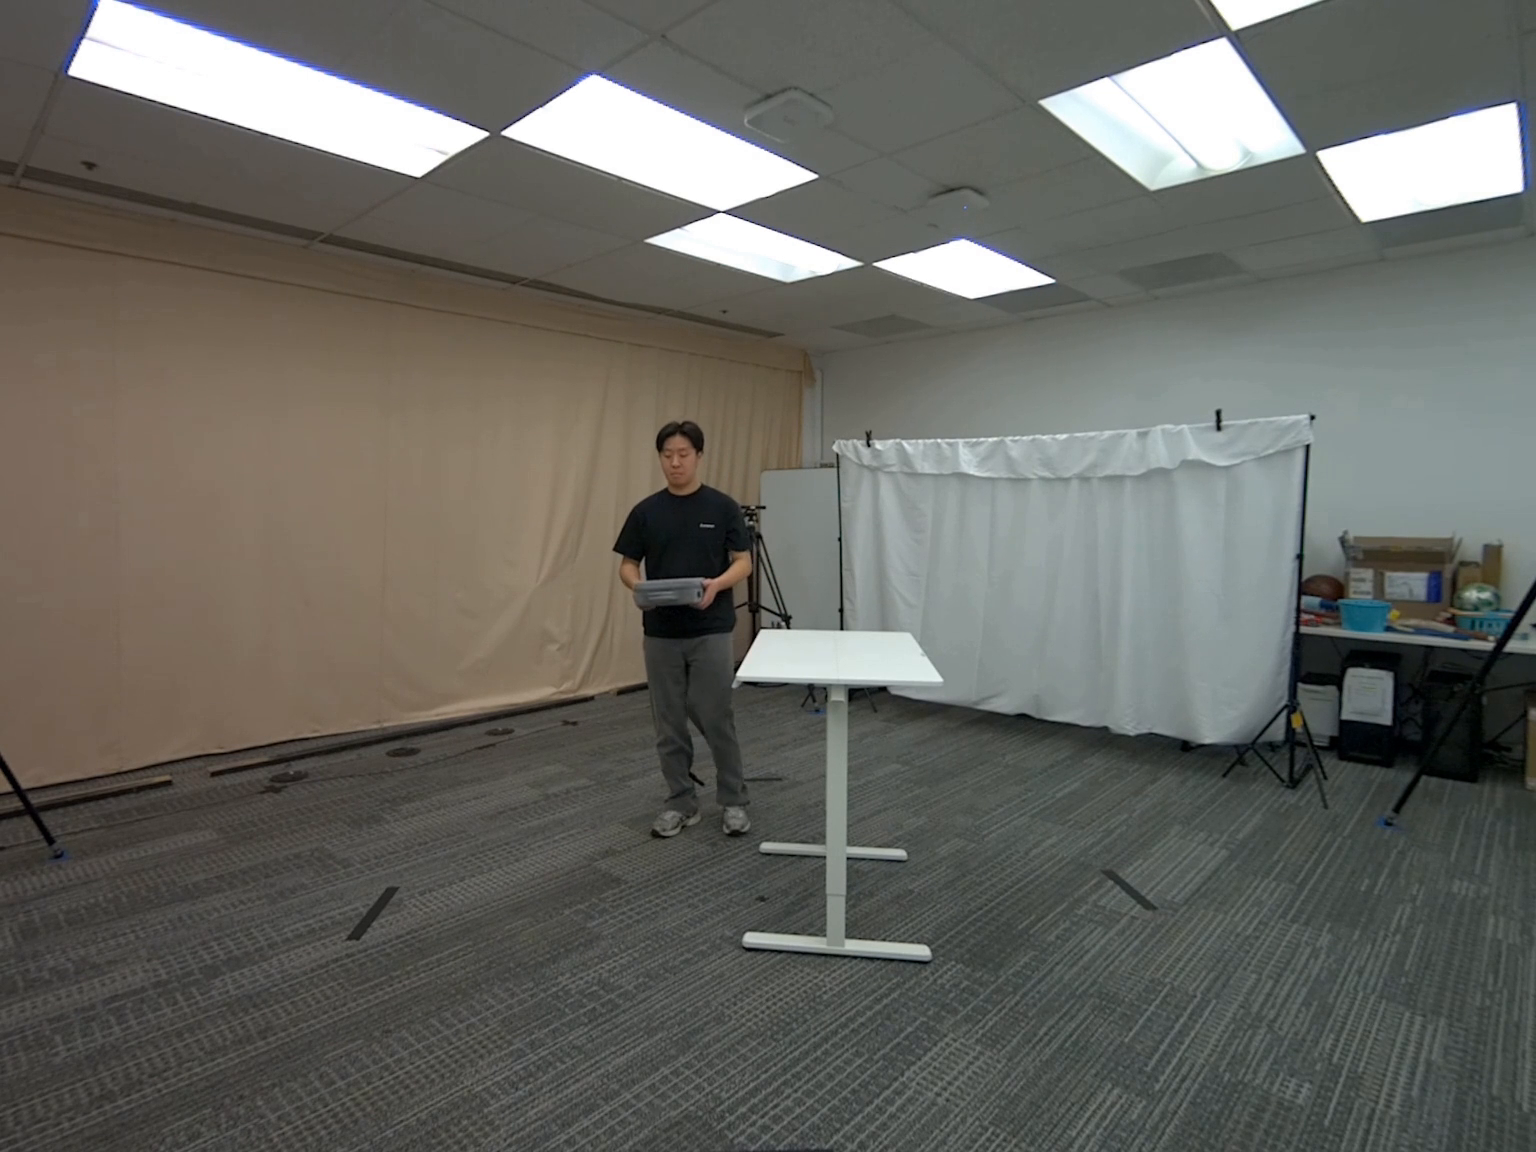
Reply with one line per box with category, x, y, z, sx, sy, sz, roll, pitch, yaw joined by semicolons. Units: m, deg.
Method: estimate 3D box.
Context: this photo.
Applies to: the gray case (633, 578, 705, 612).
gray case;-0.382;0.067;3.356;0.267;0.103;0.282;-2;-1;15
